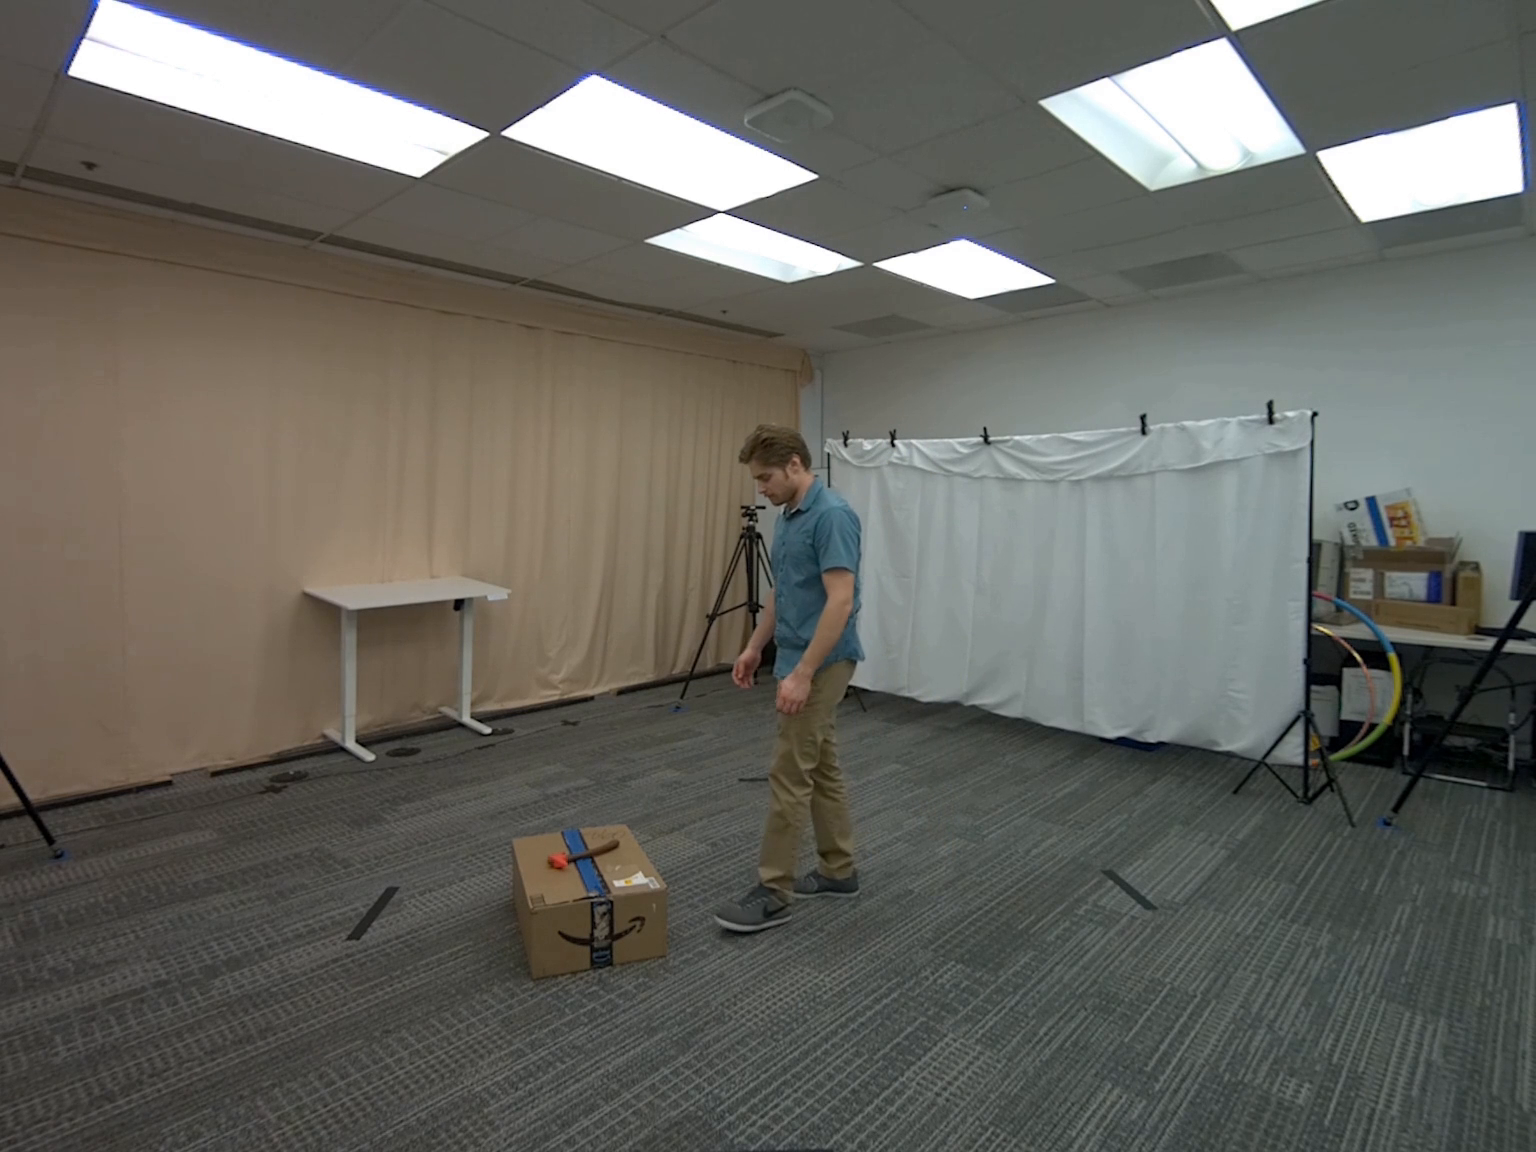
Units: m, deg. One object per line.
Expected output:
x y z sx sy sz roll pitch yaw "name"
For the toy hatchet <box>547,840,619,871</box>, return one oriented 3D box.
-0.634 0.932 2.846 0.135 0.029 0.262 -5 -2 34 "toy hatchet"
